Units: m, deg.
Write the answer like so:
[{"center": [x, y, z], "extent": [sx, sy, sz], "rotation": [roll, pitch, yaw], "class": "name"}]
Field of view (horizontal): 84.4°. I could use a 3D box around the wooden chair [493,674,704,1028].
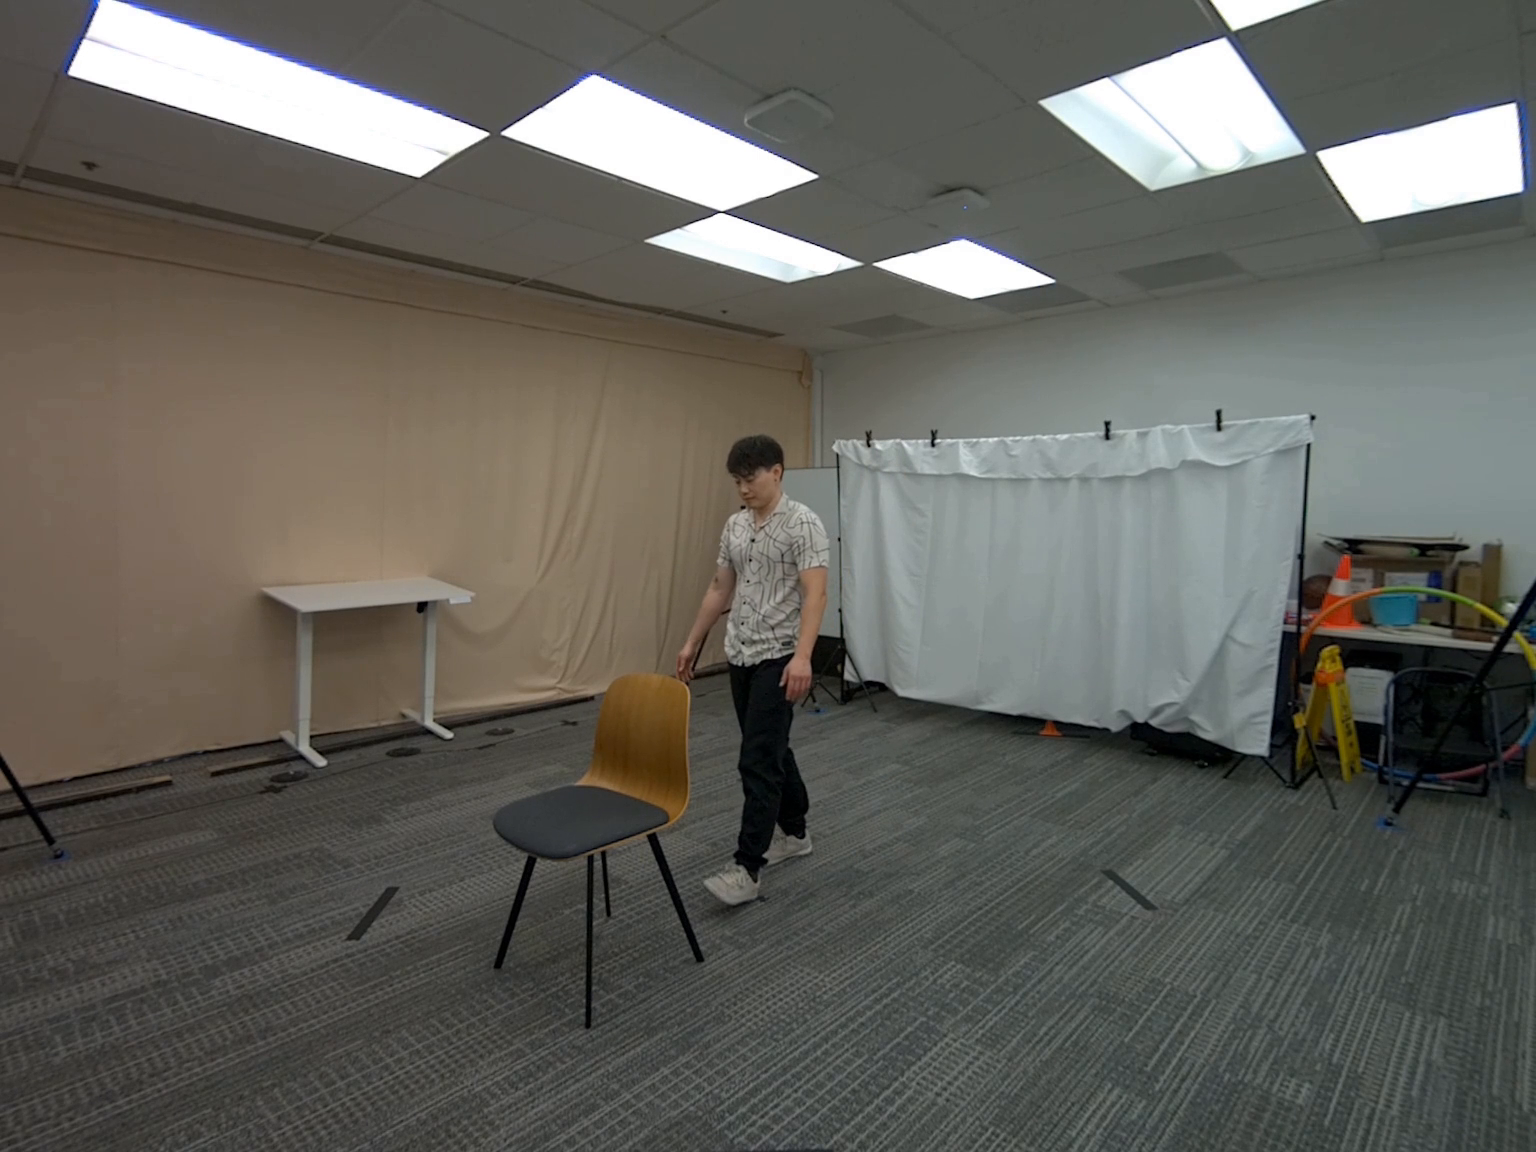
[{"center": [-0.516, 0.757, 2.522], "extent": [0.494, 0.877, 0.506], "rotation": [3, 0, 41], "class": "wooden chair"}]
